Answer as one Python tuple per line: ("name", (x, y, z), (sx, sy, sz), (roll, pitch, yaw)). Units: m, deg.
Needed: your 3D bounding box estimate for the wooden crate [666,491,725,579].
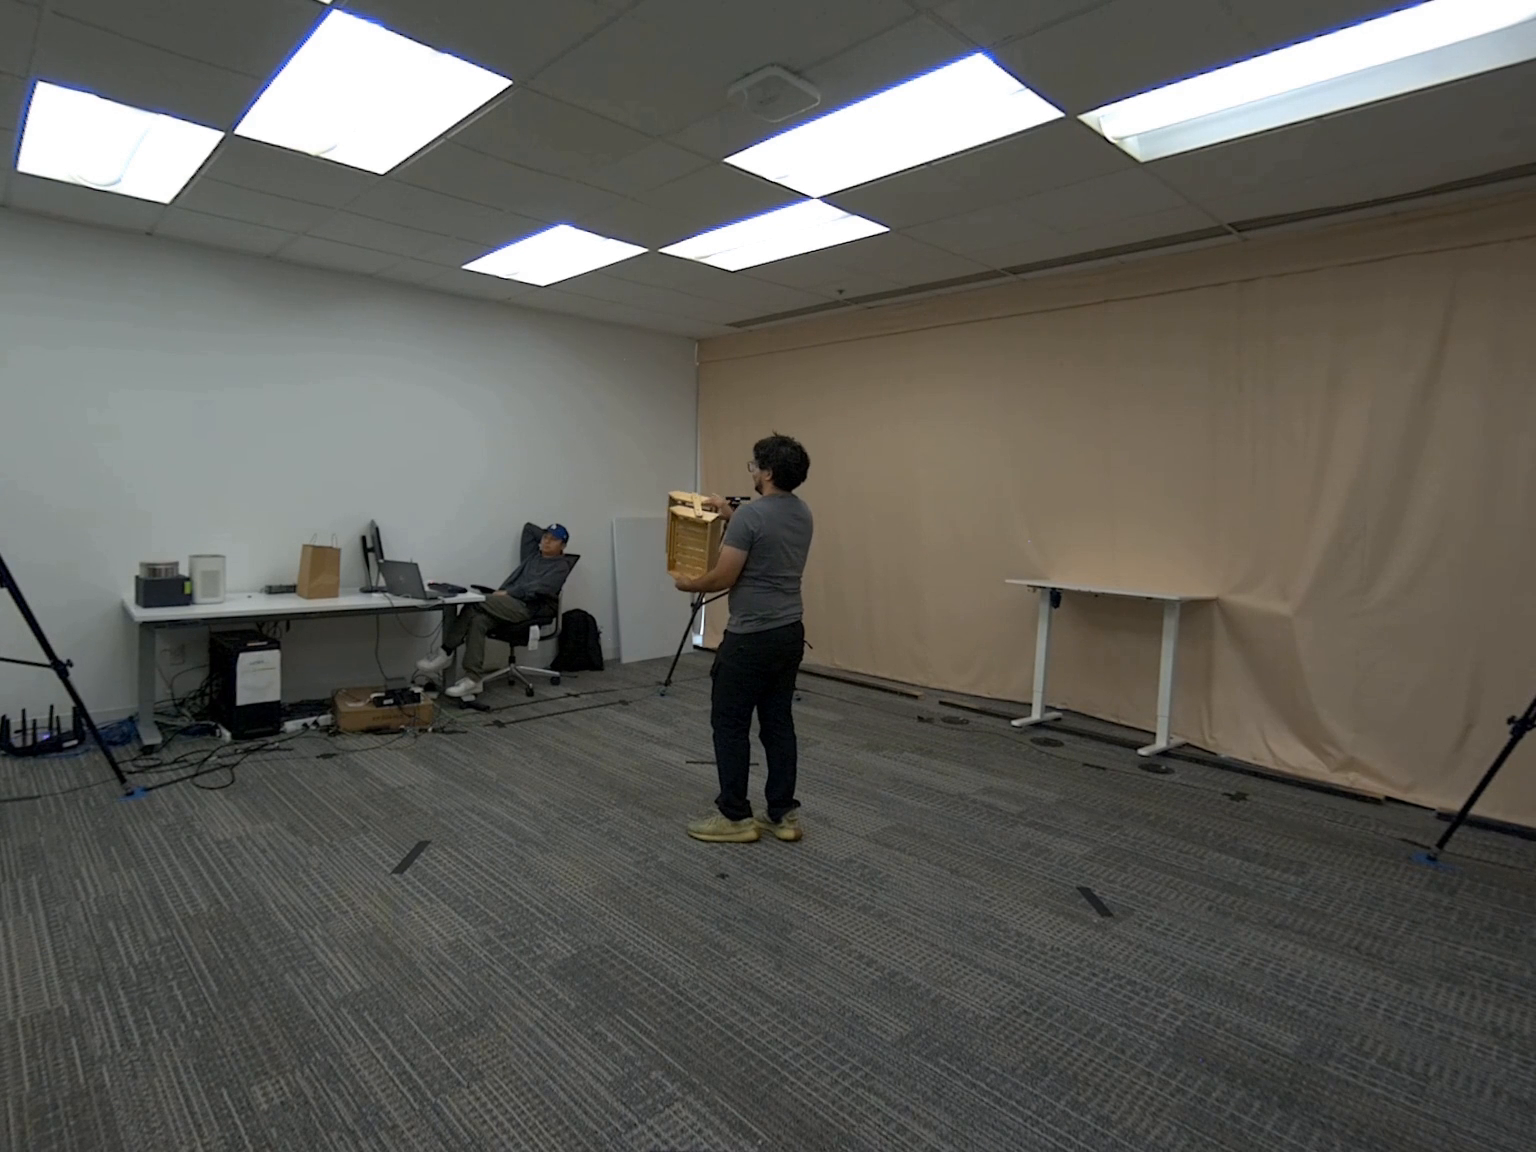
("wooden crate", (-0.356, -0.170, 3.682), (0.307, 0.320, 0.272), (13, 24, 18))
